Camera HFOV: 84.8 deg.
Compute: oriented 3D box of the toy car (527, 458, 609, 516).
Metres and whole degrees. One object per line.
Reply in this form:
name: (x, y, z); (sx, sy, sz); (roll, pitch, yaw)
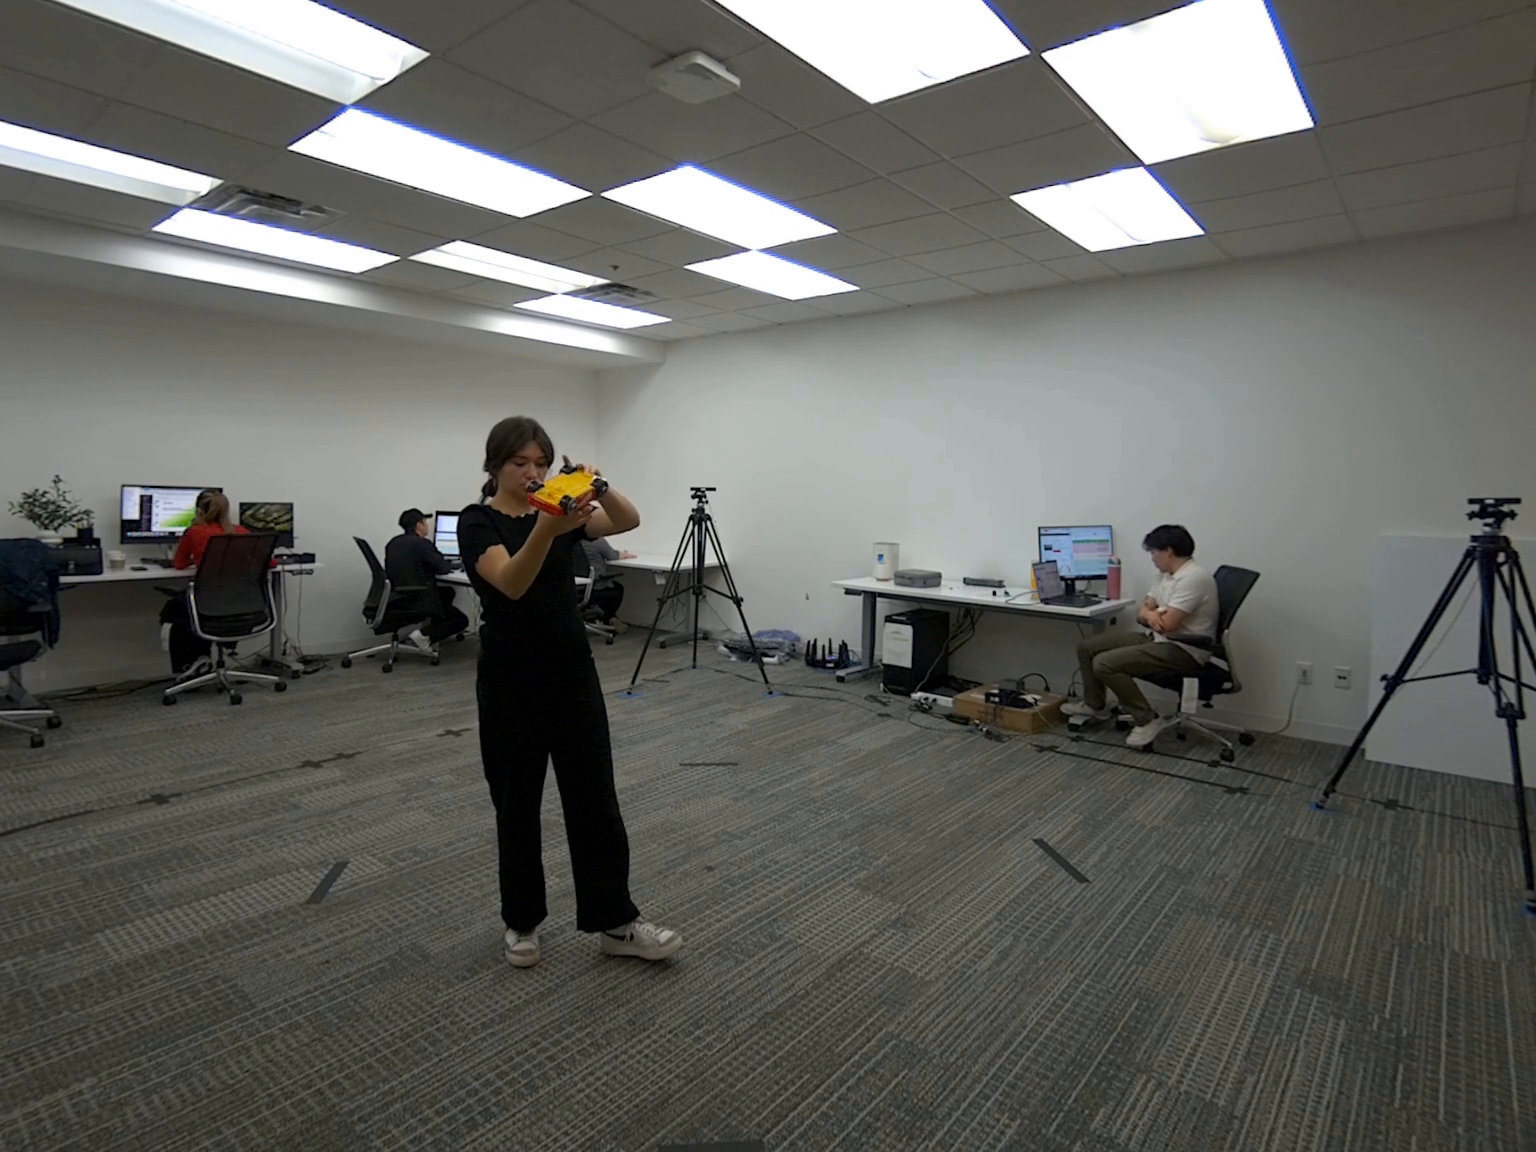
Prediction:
toy car: (-0.484, -0.210, 2.026); (0.132, 0.082, 0.253); (23, 17, 10)
